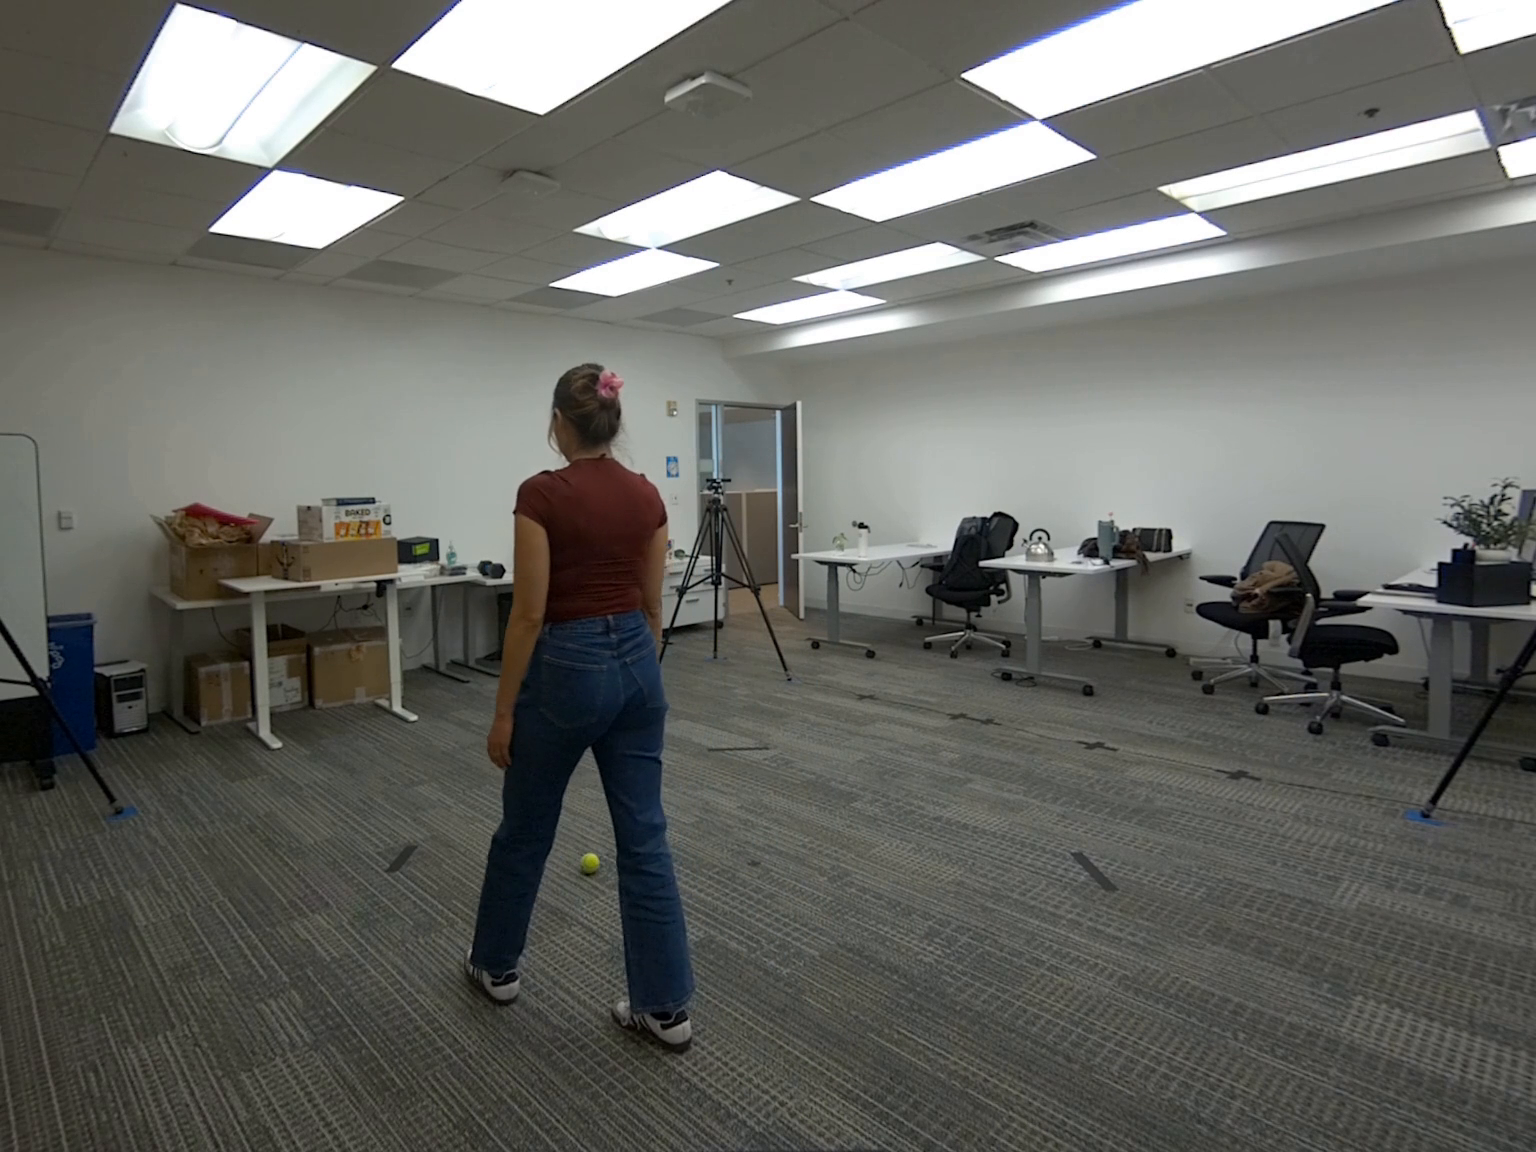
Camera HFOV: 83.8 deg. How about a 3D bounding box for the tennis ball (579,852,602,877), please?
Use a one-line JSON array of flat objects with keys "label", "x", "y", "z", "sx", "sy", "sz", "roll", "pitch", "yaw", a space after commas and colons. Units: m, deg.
[{"label": "tennis ball", "x": -0.625, "y": 1.020, "z": 3.048, "sx": 0.066, "sy": 0.066, "sz": 0.067, "roll": -1, "pitch": 5, "yaw": -2}]
